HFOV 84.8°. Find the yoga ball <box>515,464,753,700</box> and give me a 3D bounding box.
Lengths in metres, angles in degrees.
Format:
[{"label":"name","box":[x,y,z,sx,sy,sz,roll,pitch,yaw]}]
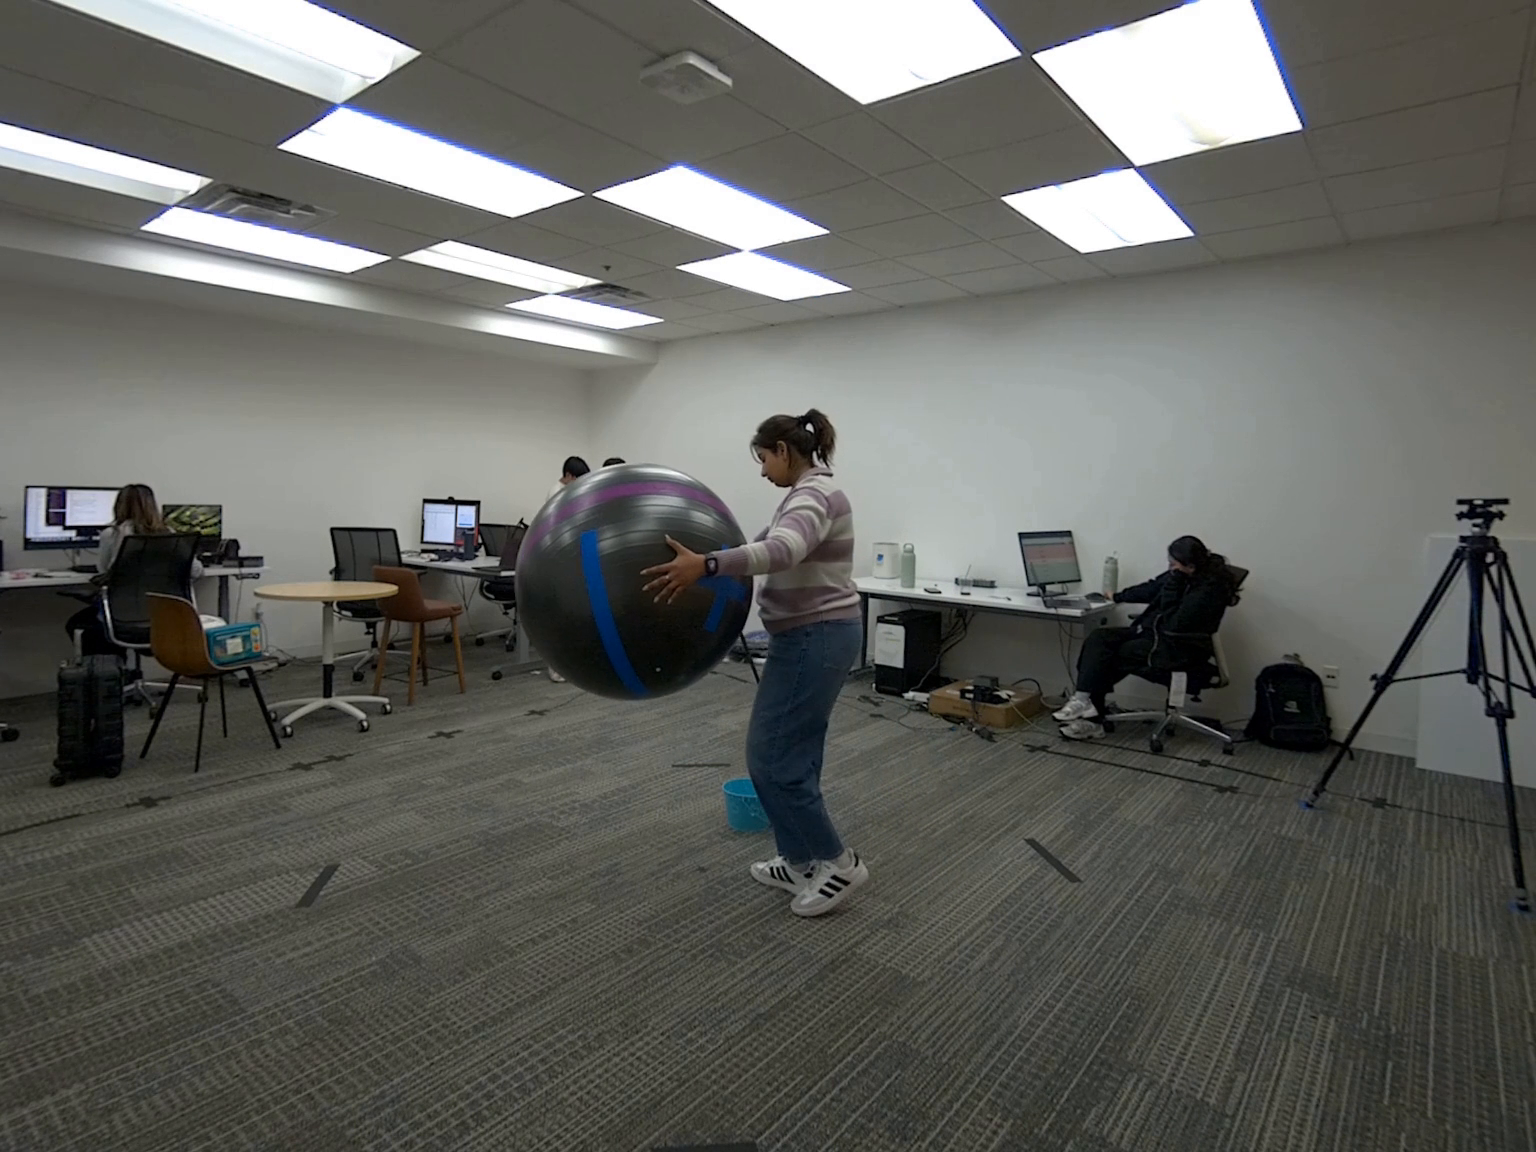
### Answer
[{"label":"yoga ball","box":[-0.436,0.022,2.738,0.757,0.756,0.761,1,4,-2]}]
